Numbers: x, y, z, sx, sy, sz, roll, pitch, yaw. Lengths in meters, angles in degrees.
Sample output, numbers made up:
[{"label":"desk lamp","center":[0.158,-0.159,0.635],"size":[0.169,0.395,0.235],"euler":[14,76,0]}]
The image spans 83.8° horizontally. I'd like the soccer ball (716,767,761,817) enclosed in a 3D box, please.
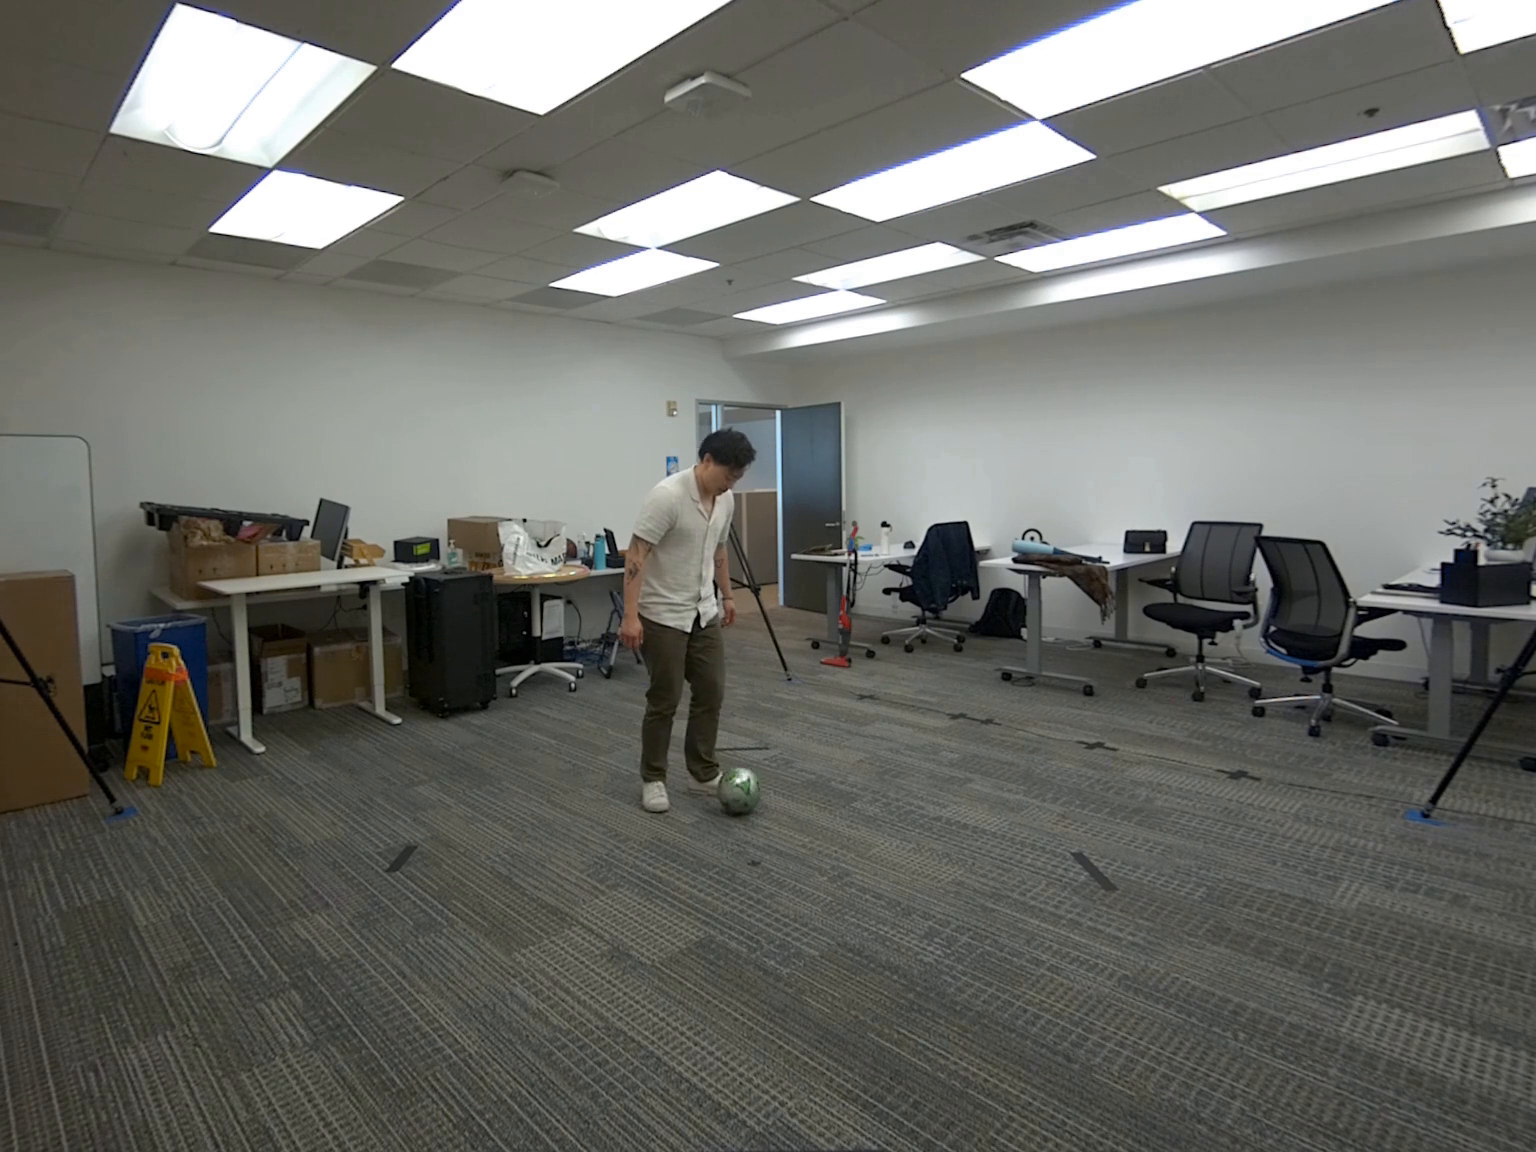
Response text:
[{"label":"soccer ball","center":[-0.121,0.897,3.580],"size":[0.187,0.187,0.188],"euler":[-1,5,-2]}]
